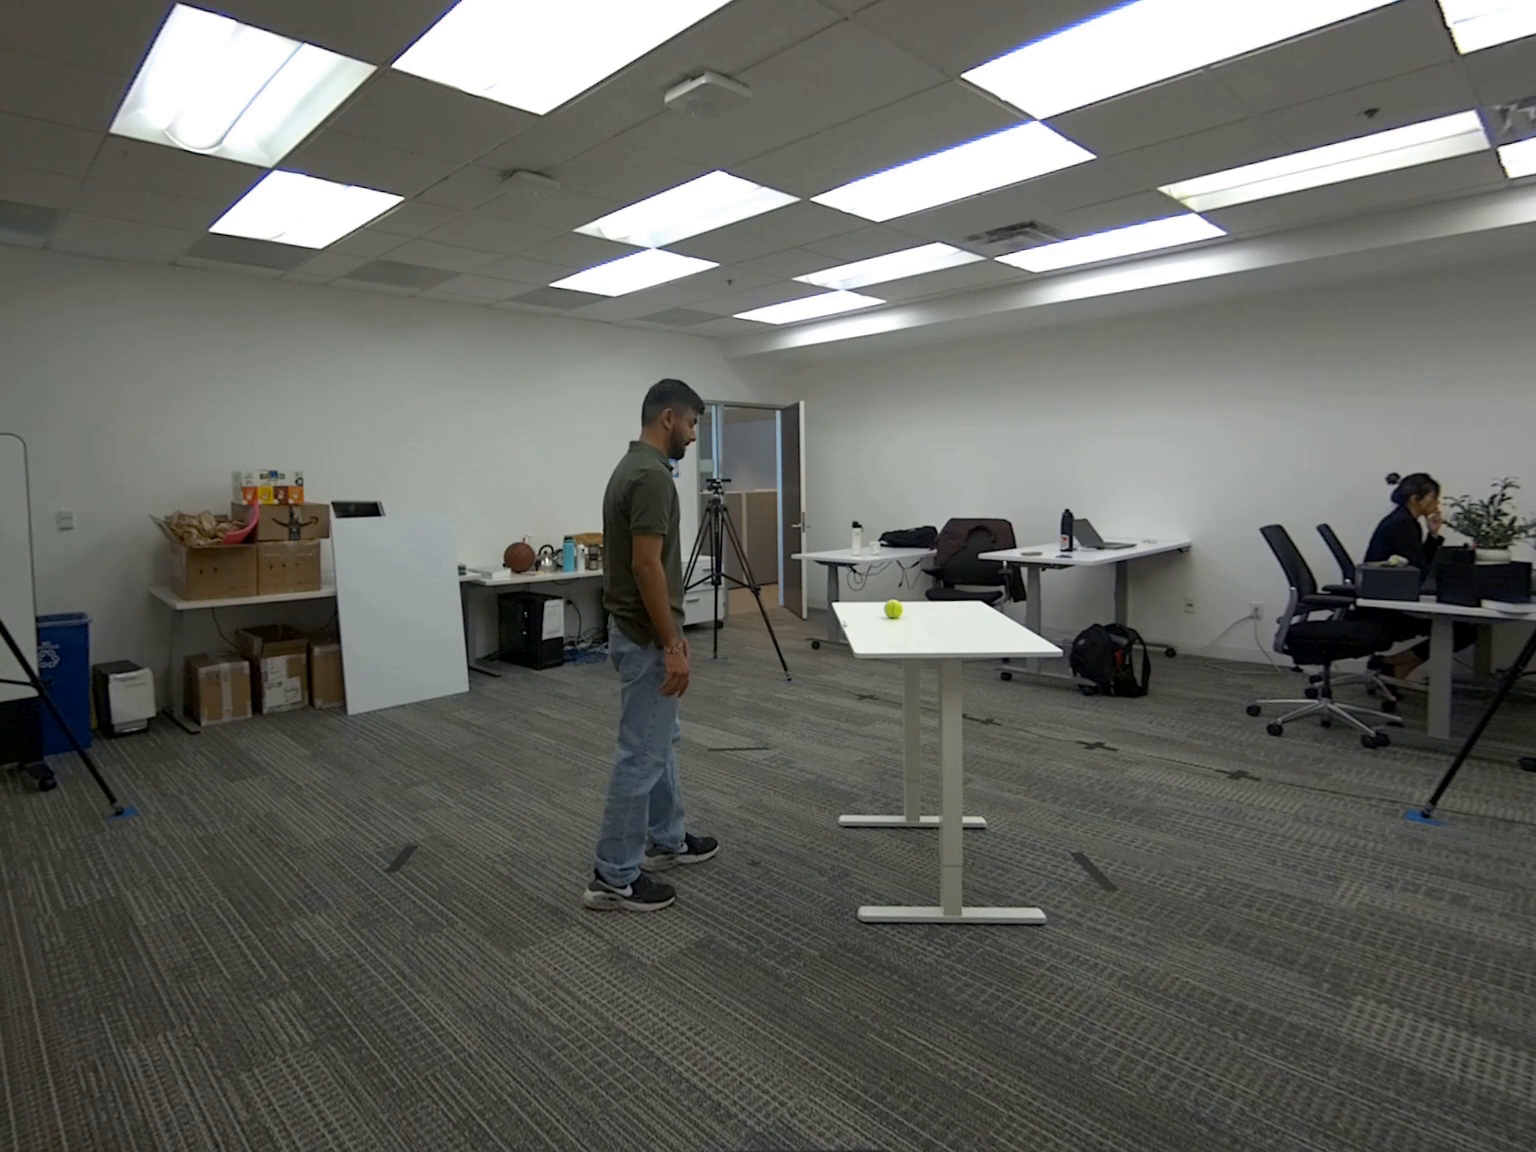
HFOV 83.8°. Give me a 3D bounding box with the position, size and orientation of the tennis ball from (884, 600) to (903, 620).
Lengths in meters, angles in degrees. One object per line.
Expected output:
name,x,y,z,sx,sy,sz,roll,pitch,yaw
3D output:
tennis ball,0.448,0.117,3.112,0.066,0.066,0.067,-1,5,-2
